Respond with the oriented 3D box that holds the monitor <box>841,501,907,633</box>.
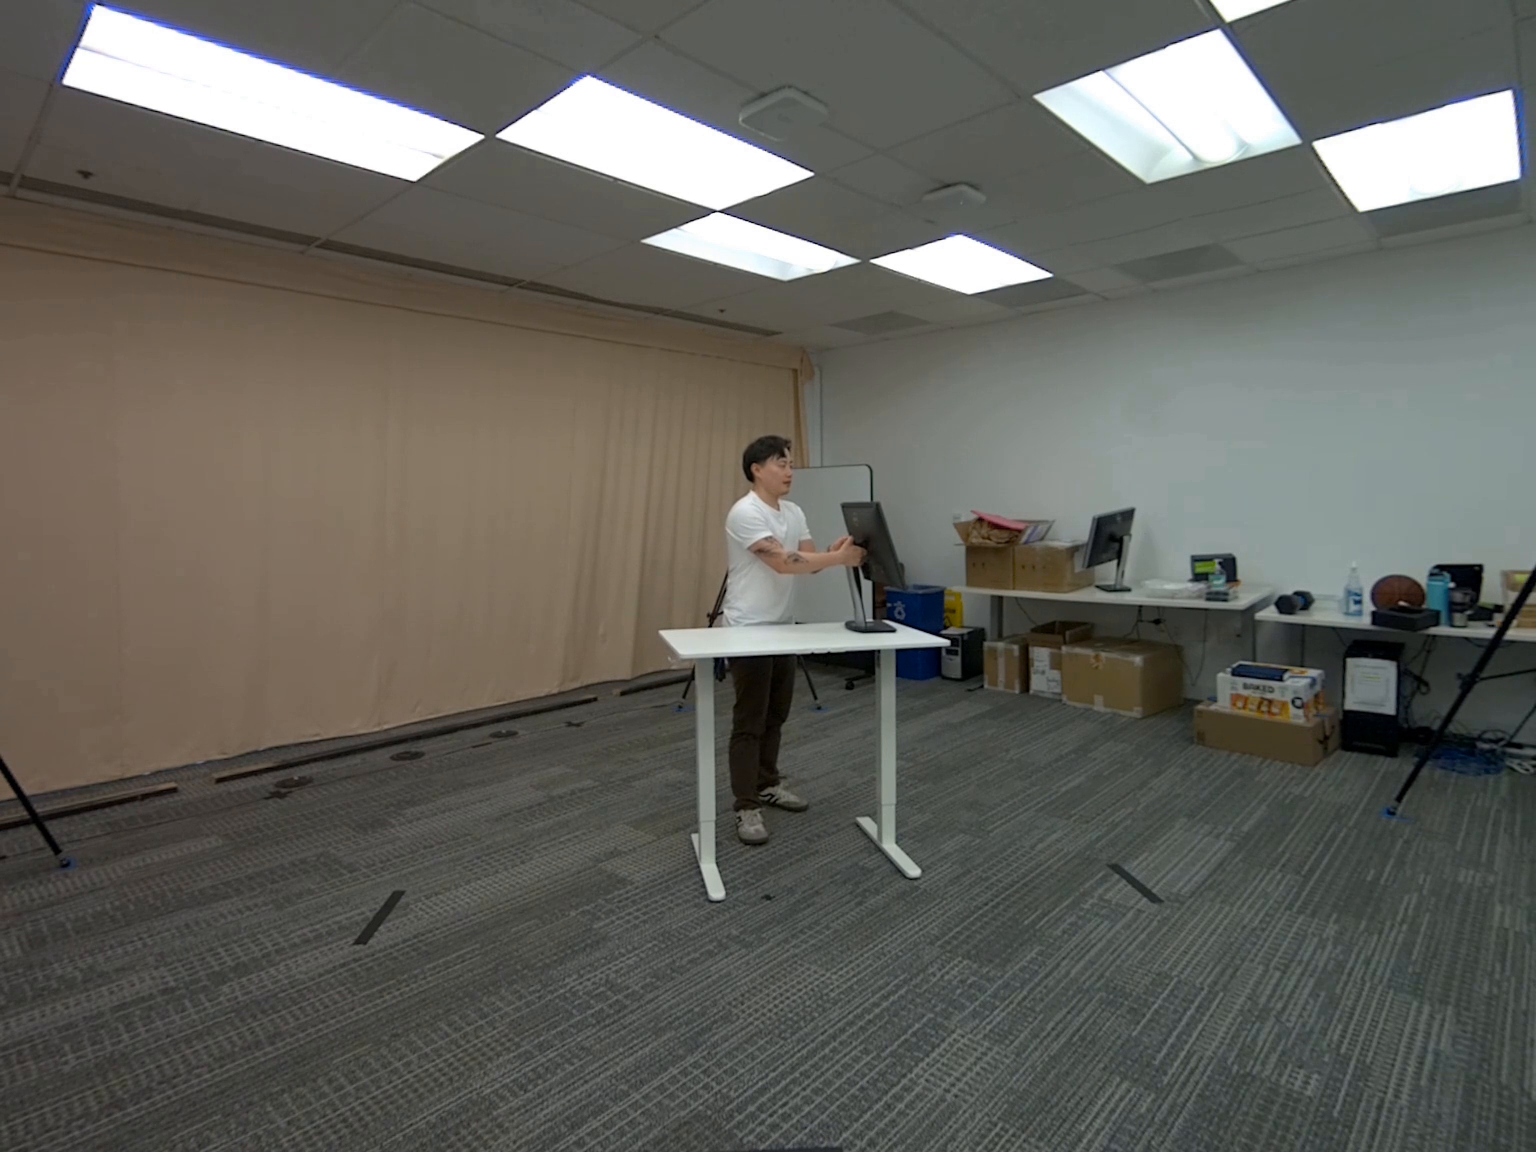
[{"bbox_3d":[0.399,-0.037,3.428,0.185,0.521,0.545,-5,5,-10],"label":"monitor"}]
